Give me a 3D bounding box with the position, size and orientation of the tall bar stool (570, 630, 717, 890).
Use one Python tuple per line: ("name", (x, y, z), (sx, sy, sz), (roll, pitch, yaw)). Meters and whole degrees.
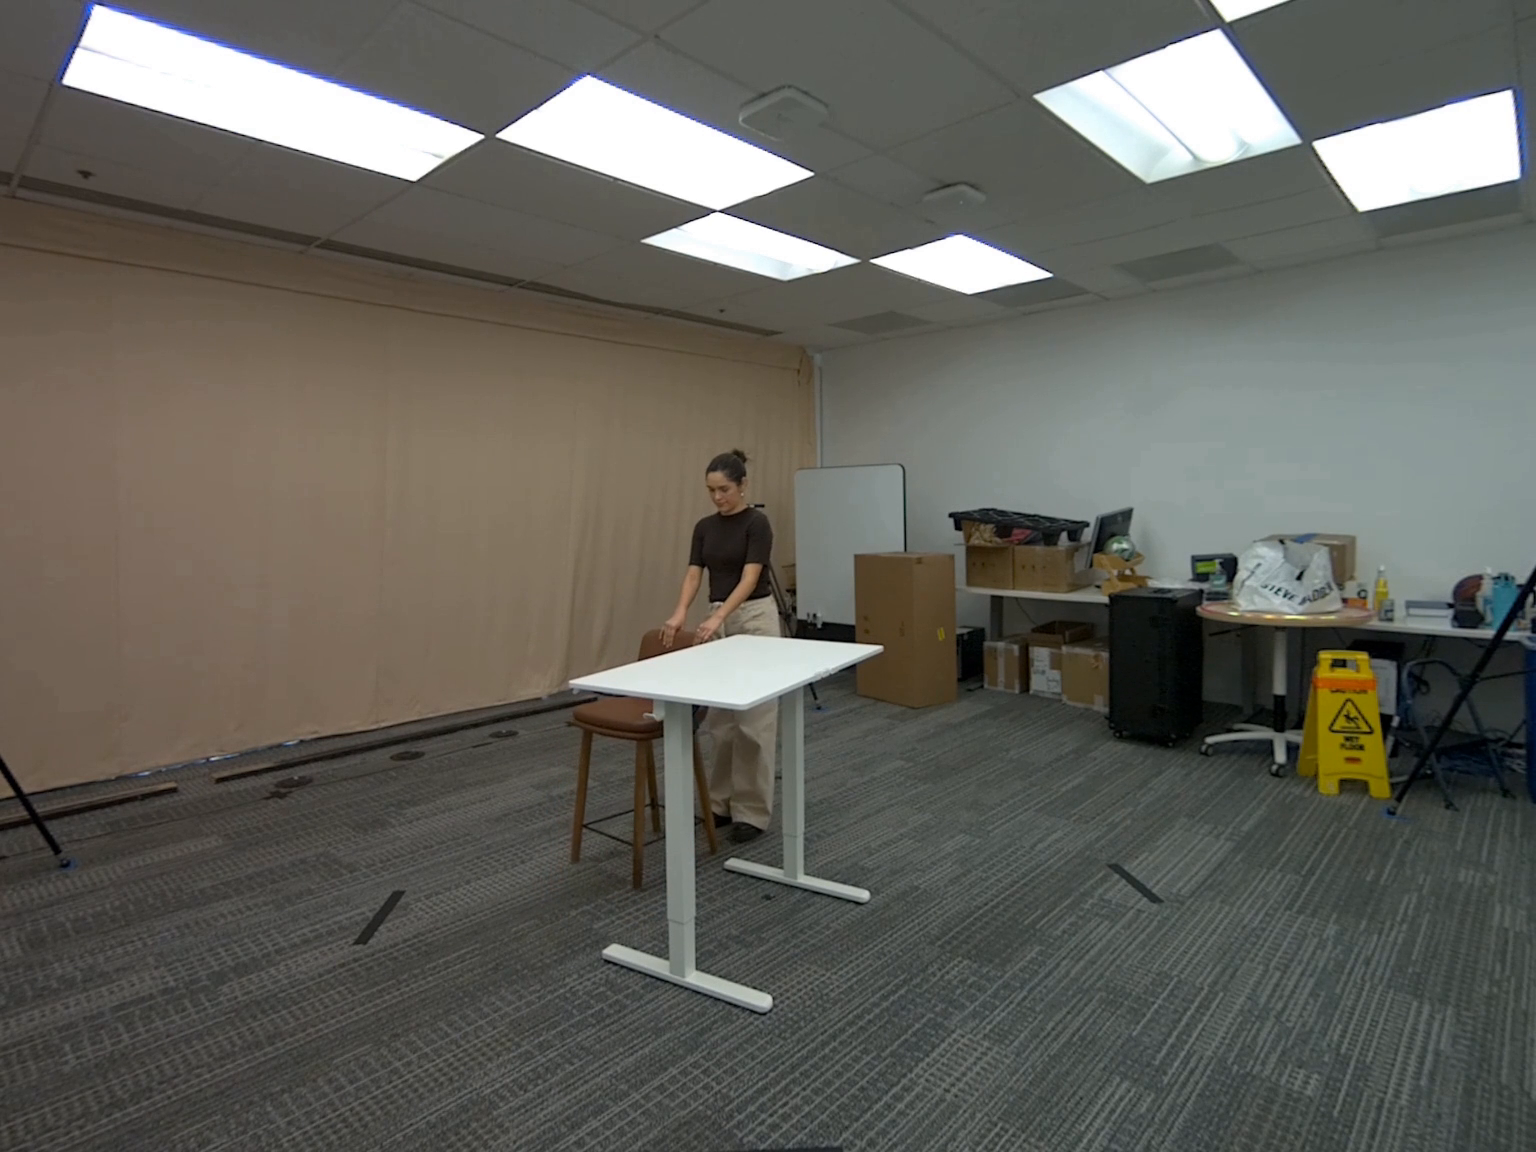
("tall bar stool", (-0.492, 0.685, 3.330), (0.471, 0.889, 0.453), (2, 2, 42))
